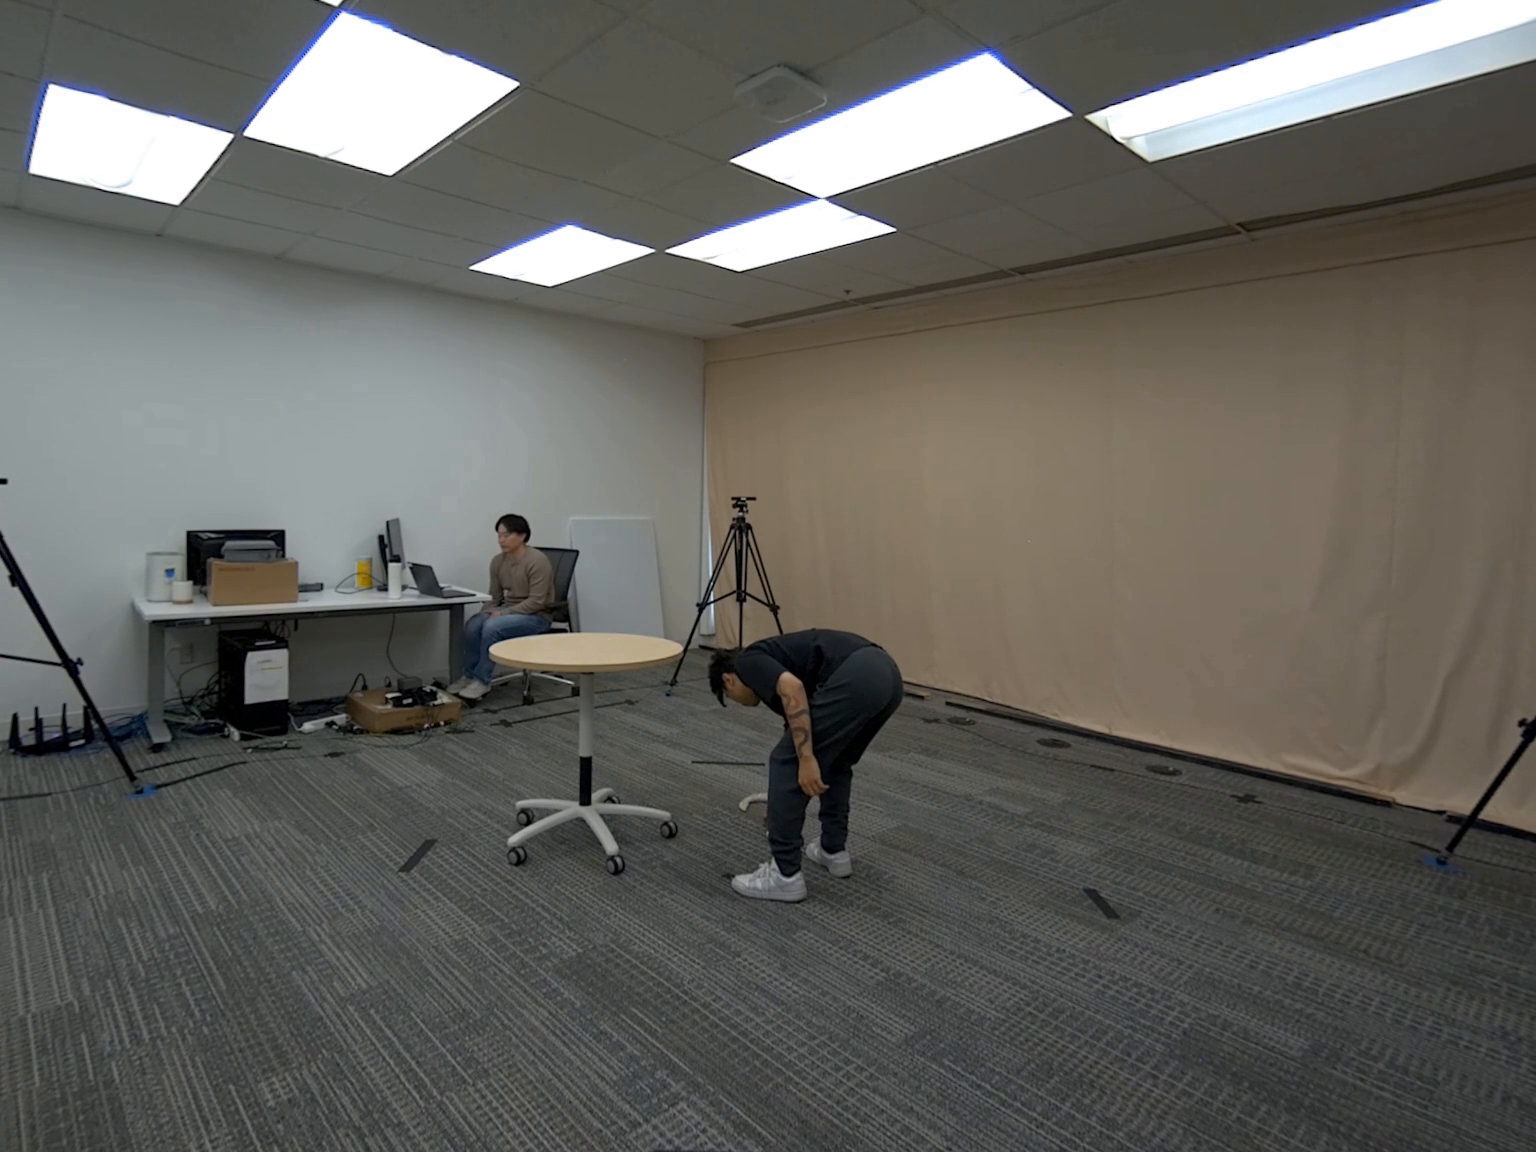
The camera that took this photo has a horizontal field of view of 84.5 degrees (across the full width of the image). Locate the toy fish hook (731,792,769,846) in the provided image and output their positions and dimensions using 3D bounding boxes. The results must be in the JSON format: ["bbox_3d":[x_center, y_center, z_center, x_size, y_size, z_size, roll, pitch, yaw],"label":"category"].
[{"bbox_3d":[-0.022,1.046,3.685,0.225,0.048,0.506,-6,3,4],"label":"toy fish hook"}]
